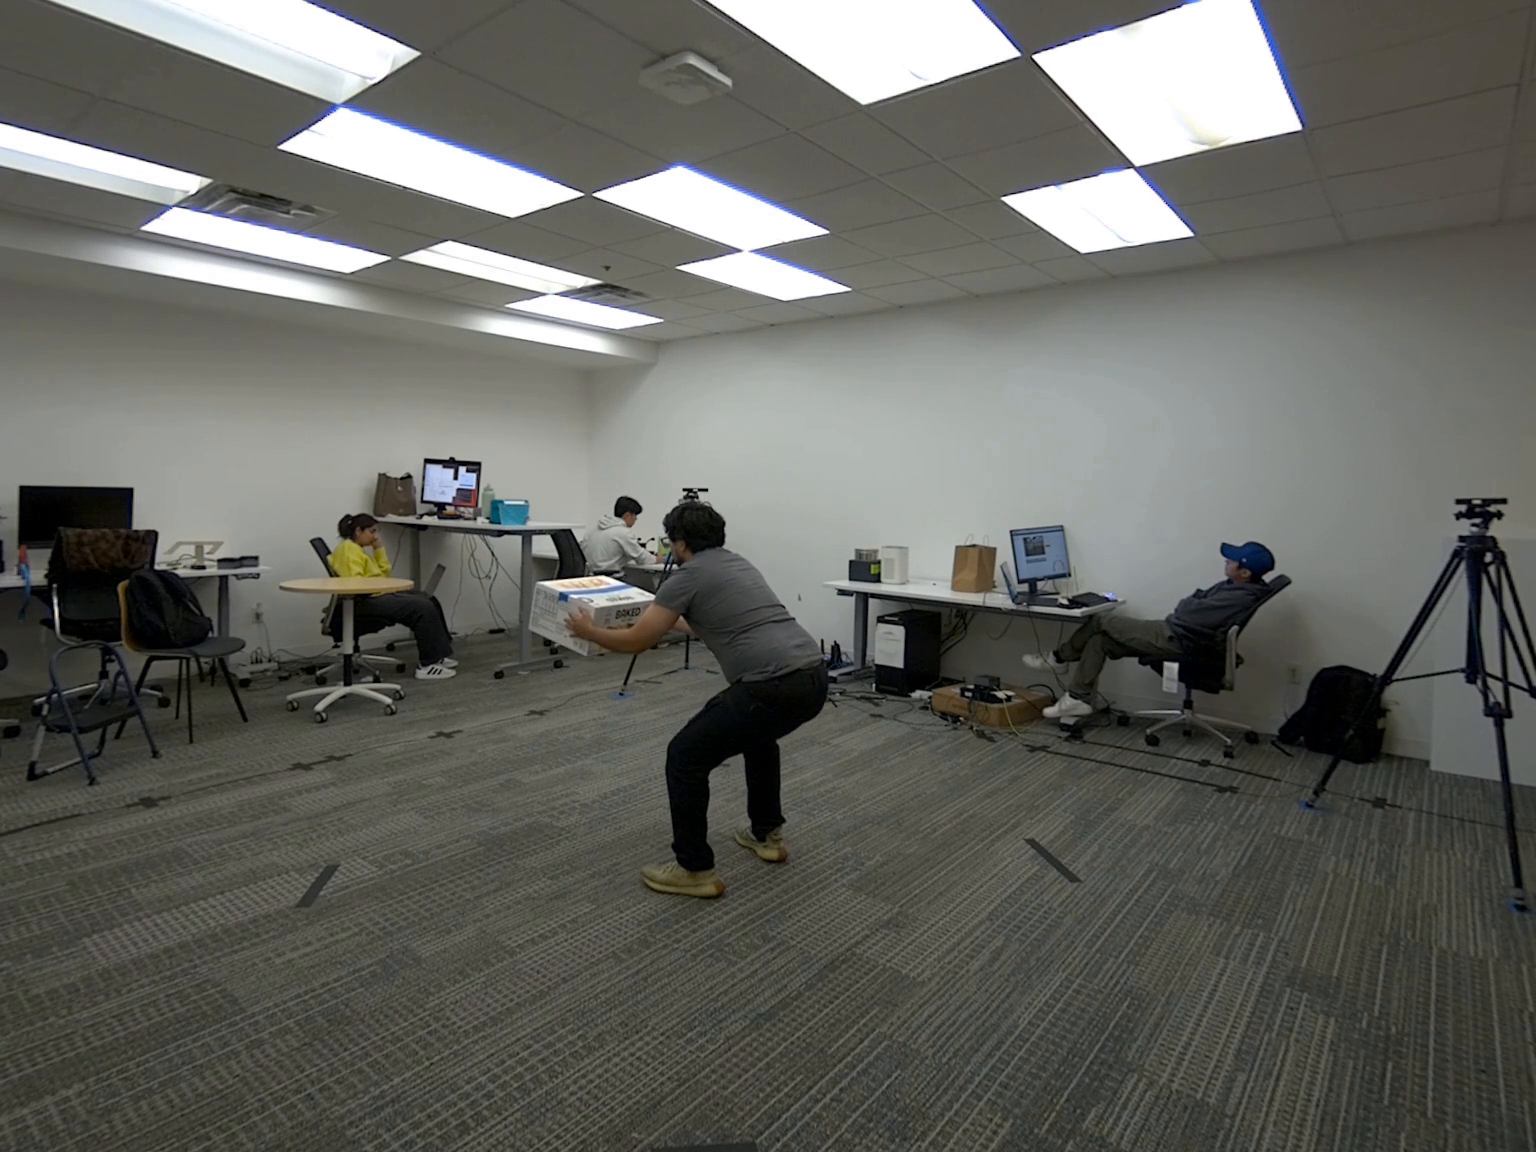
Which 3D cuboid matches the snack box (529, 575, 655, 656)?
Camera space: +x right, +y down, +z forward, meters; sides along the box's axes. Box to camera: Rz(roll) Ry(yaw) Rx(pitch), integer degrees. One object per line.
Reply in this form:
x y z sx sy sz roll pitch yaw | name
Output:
-0.717 0.153 3.502 0.352 0.204 0.394 17 13 31 | snack box
